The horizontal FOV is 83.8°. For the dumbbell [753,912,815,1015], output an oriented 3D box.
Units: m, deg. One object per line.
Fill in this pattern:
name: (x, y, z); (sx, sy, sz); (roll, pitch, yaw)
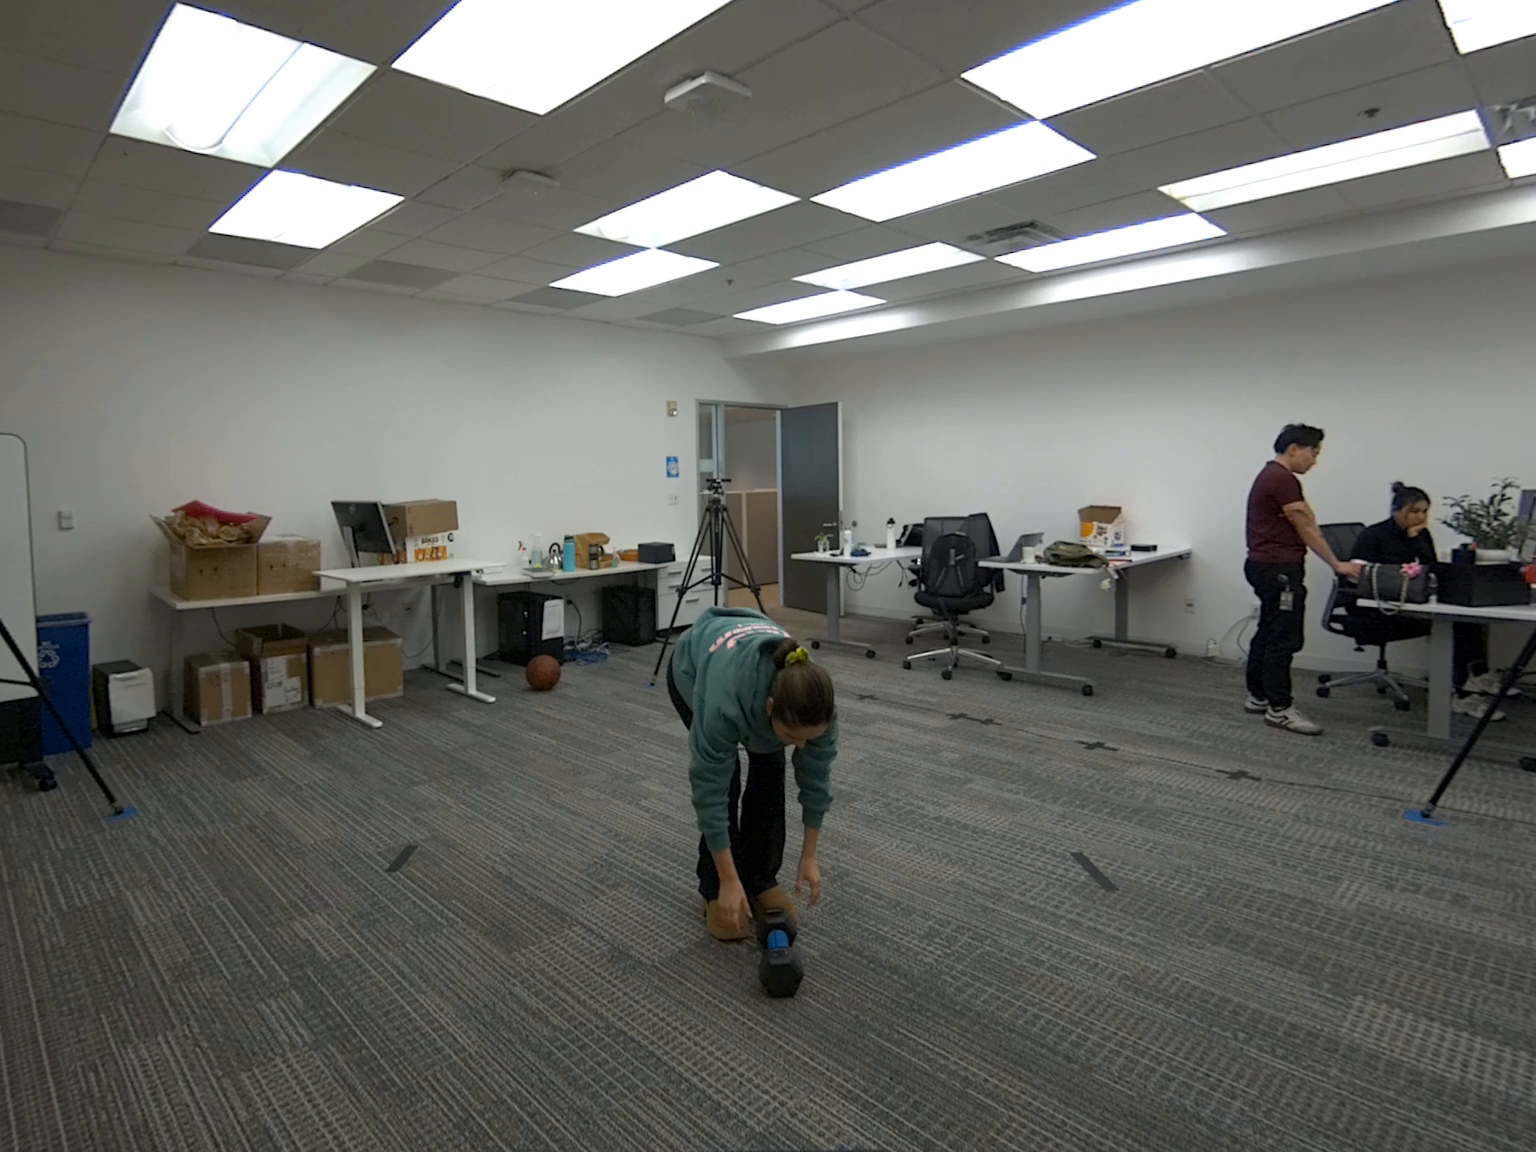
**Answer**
dumbbell: (0.038, 1.077, 2.430); (0.108, 0.123, 0.295); (23, 4, -5)
